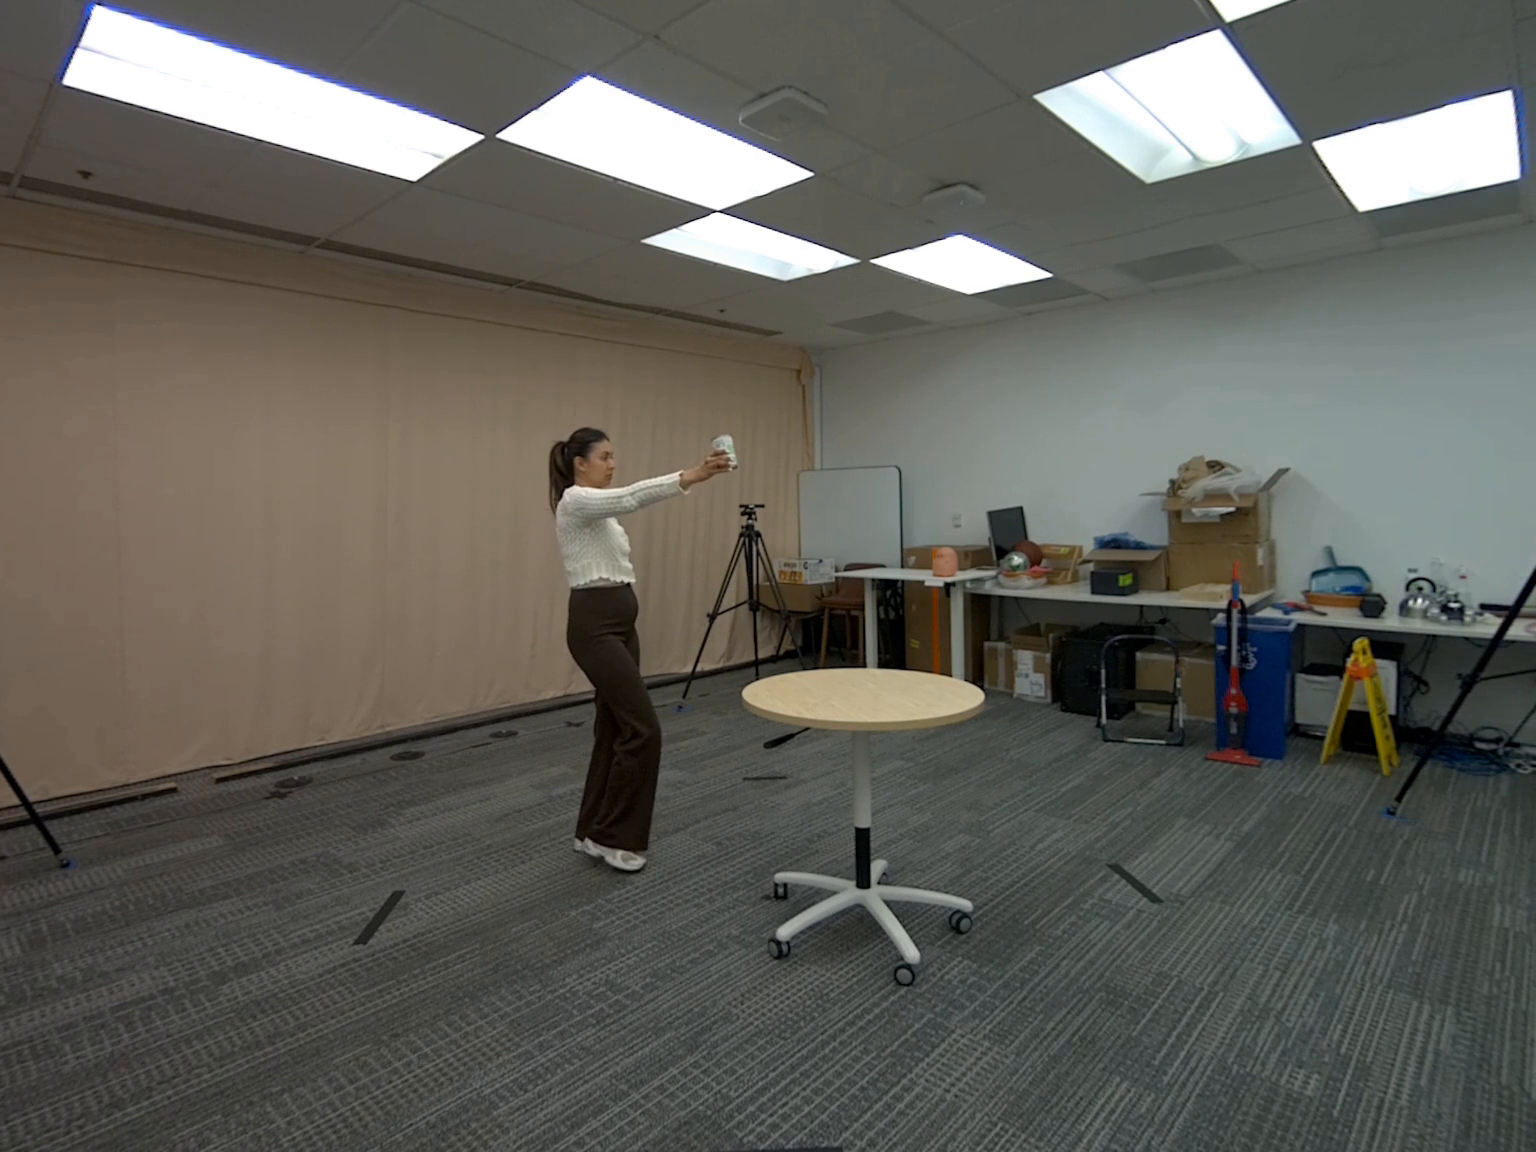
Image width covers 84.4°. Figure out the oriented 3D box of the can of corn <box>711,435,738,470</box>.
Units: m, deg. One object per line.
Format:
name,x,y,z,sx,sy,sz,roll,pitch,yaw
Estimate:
can of corn,-0.147,-0.420,2.892,0.074,0.111,0.074,-11,-4,-2
